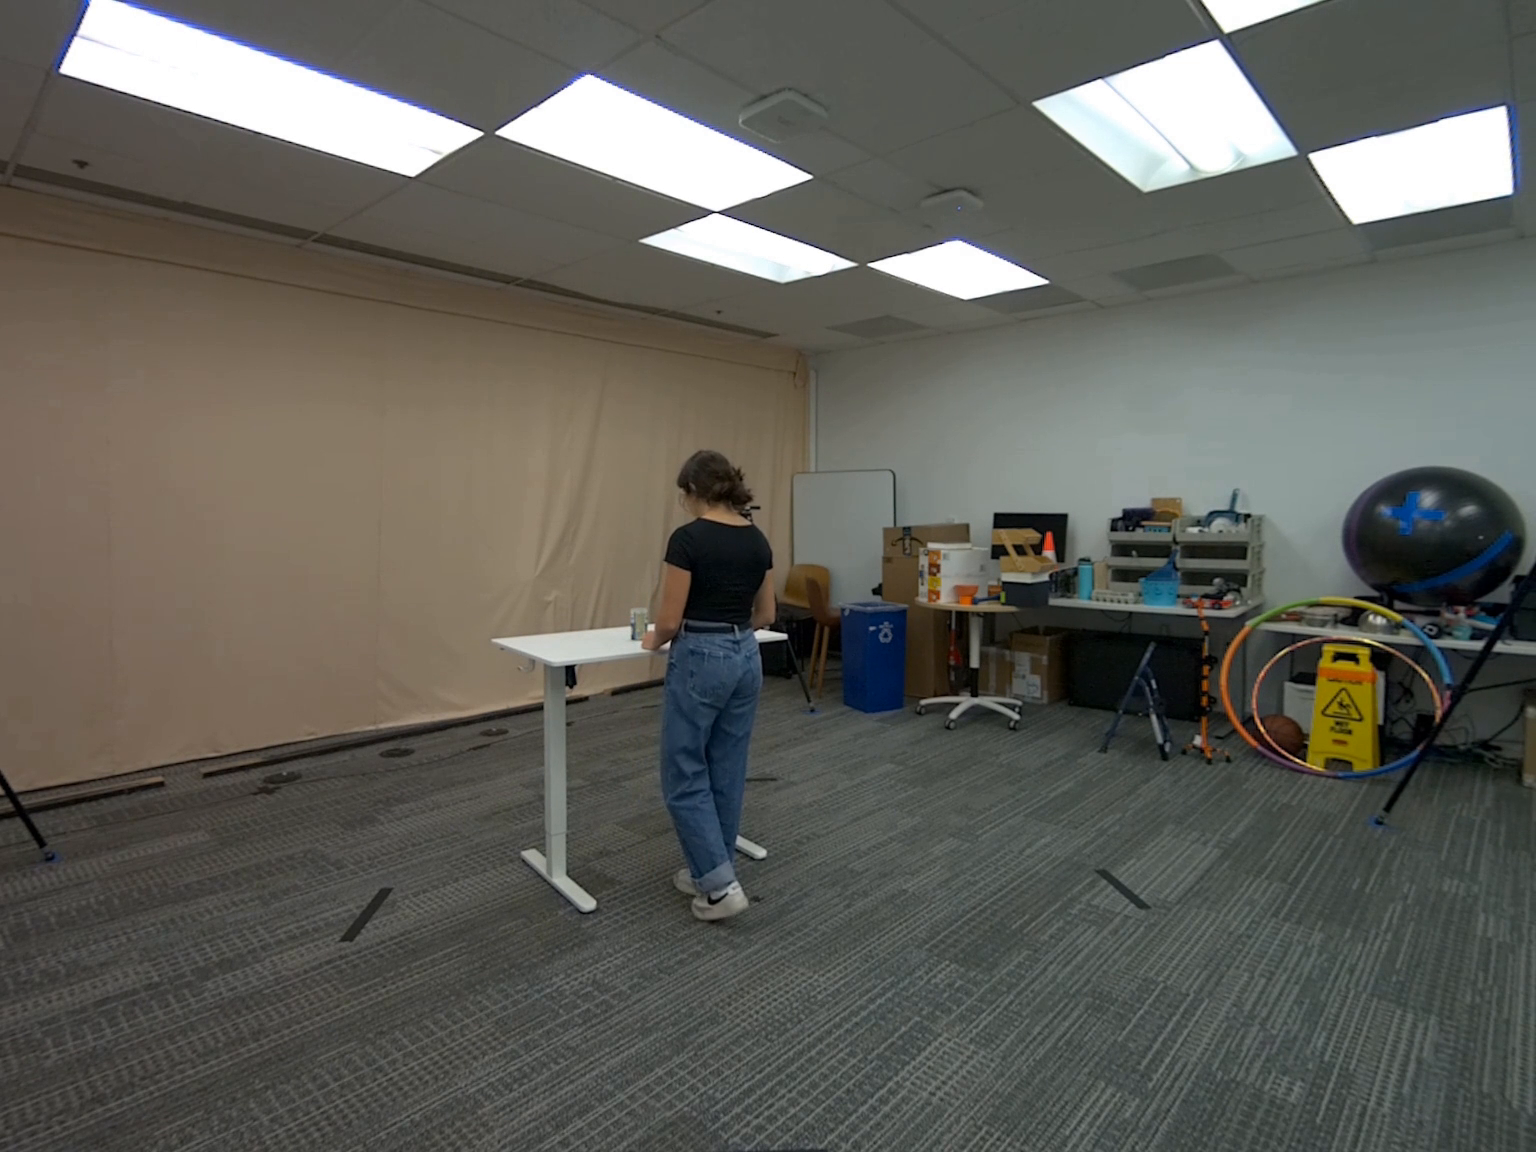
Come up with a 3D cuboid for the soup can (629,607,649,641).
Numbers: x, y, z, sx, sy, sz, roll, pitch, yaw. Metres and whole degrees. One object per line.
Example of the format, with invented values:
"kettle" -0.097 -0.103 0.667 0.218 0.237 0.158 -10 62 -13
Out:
"soup can" -0.496 0.189 3.241 0.067 0.121 0.067 -1 1 -2
